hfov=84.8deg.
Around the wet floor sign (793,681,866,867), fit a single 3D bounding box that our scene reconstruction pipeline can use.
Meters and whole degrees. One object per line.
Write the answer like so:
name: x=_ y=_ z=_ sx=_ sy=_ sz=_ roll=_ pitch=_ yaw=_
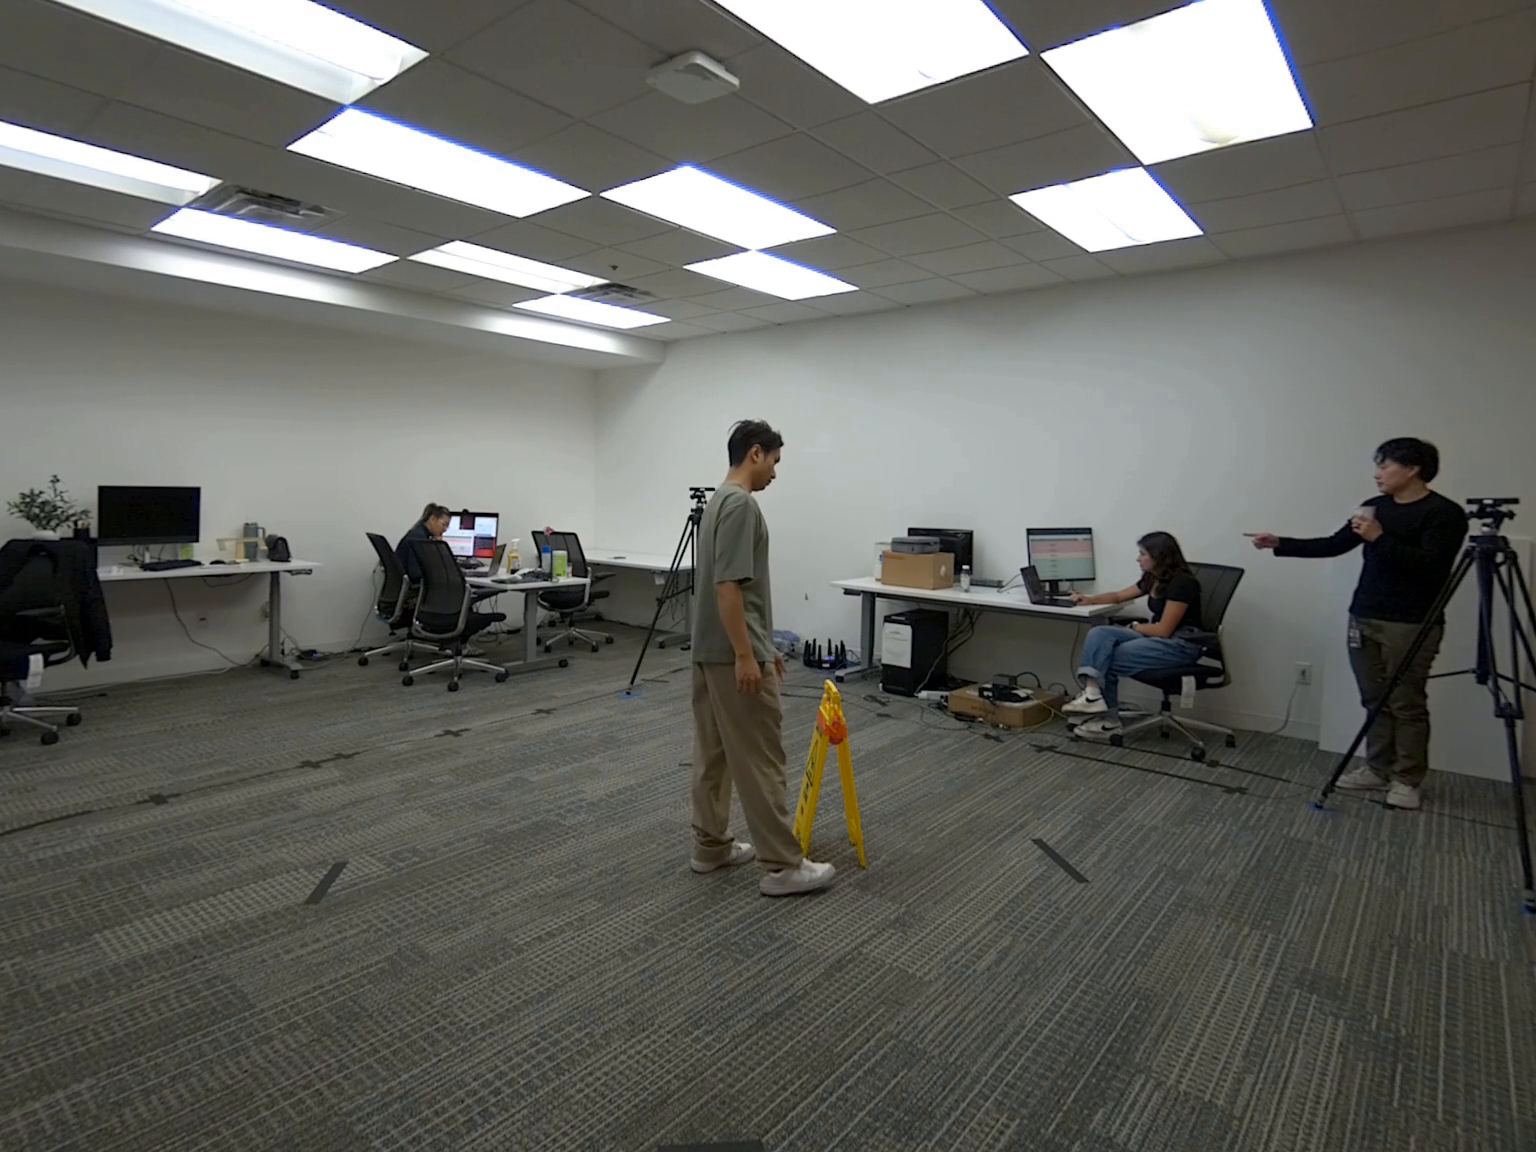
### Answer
wet floor sign: x=0.229 y=0.731 z=3.262 sx=0.288 sy=0.645 sz=0.284 roll=1 pitch=2 yaw=-5
